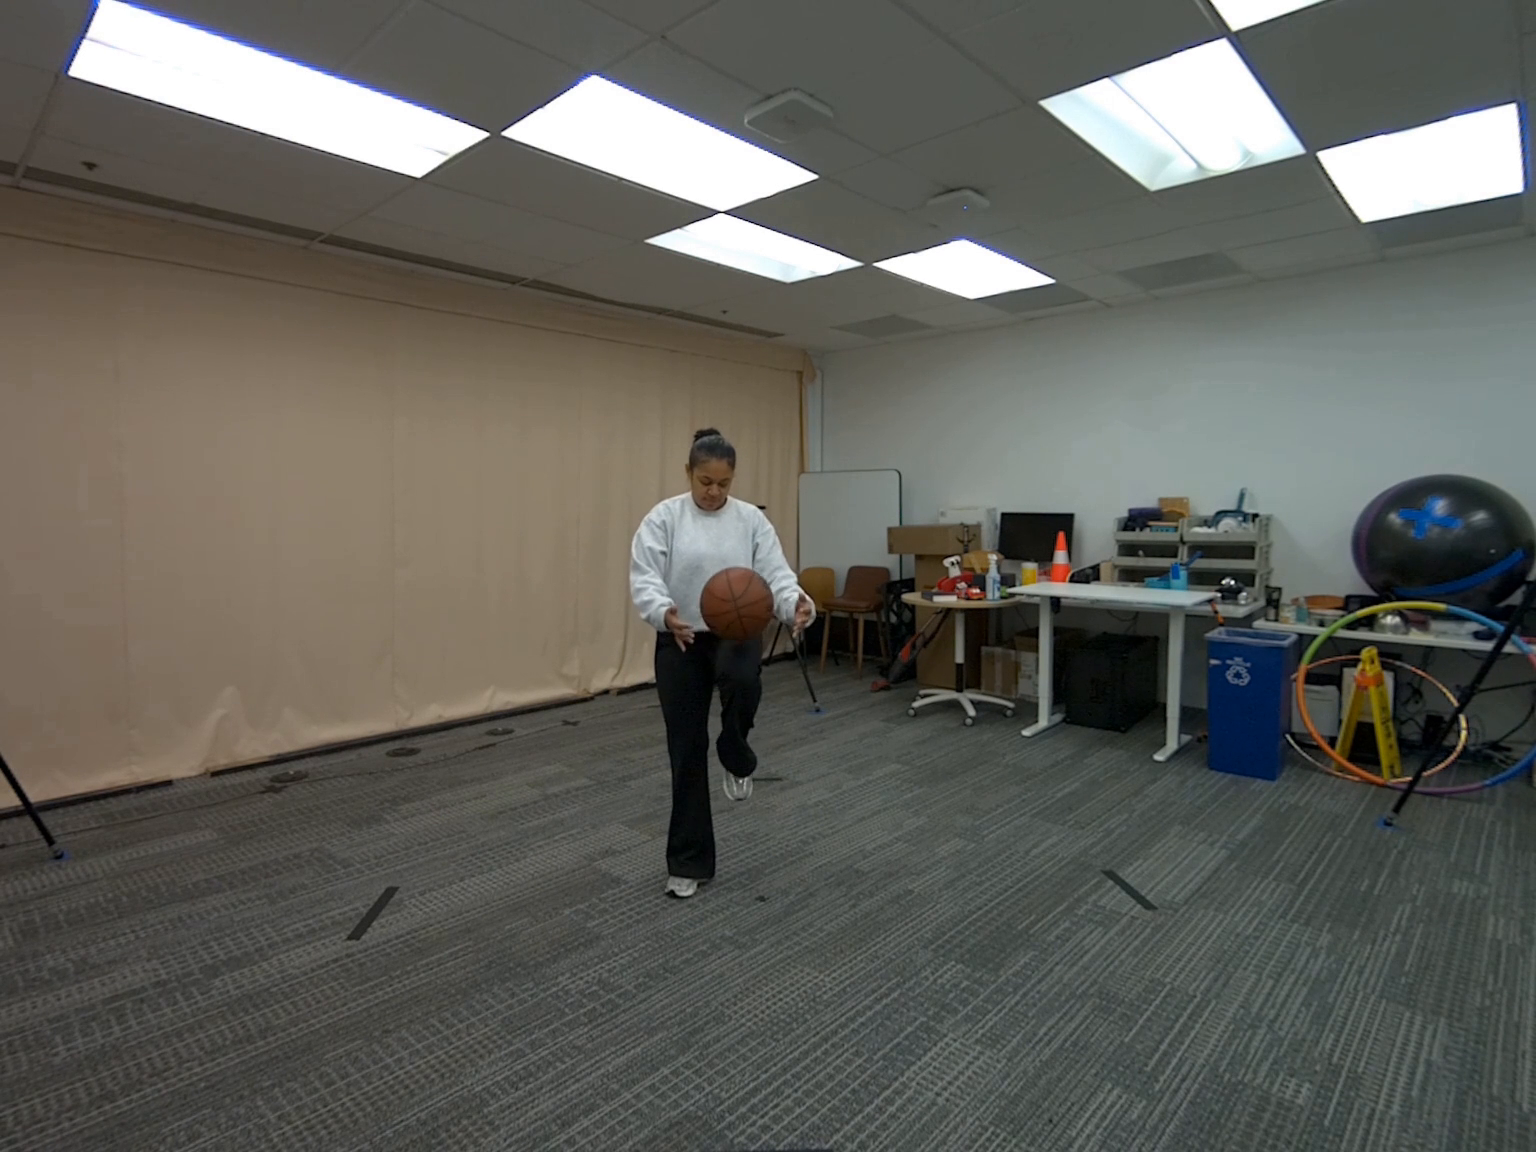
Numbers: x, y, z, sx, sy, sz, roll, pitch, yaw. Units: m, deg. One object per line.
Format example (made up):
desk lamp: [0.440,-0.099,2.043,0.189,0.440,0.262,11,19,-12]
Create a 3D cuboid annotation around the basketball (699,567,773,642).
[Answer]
basketball: [-0.100,0.102,2.685,0.236,0.235,0.237,0,4,-2]
